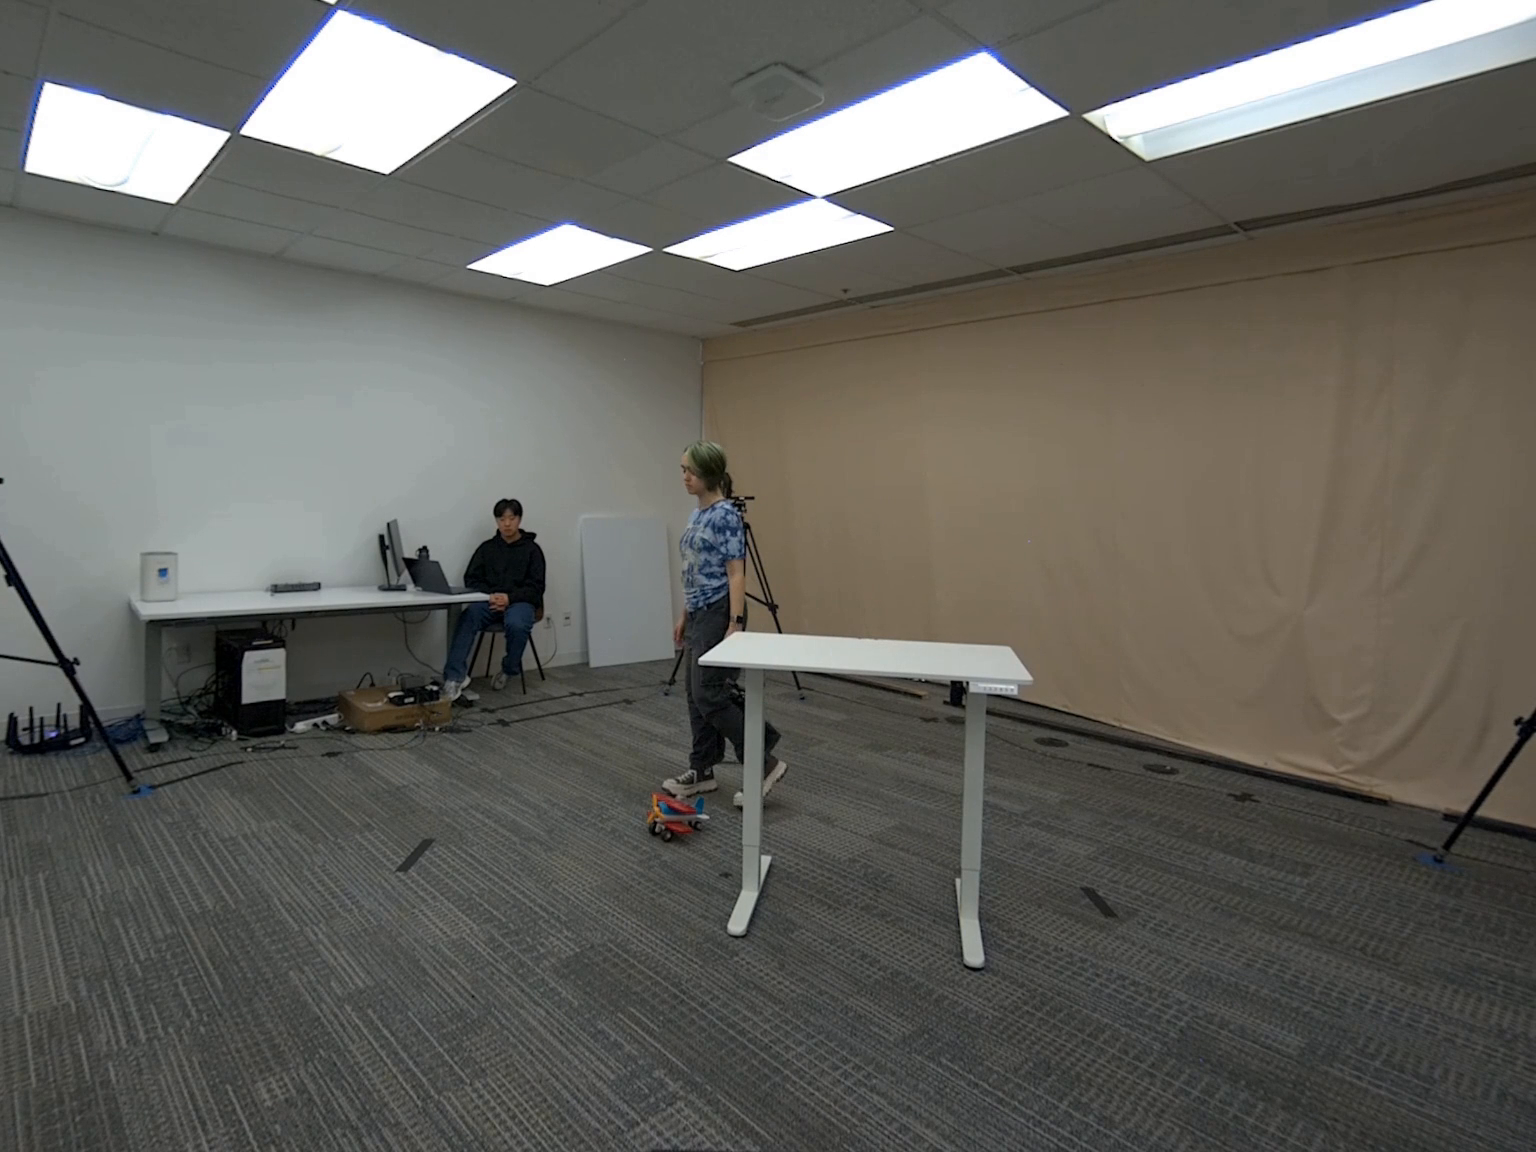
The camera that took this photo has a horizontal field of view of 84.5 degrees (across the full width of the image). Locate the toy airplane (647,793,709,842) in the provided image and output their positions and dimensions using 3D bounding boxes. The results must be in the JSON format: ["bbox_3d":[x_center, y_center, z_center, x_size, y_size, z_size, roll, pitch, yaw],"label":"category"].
[{"bbox_3d":[-0.398,0.991,3.493,0.255,0.156,0.256,3,7,20],"label":"toy airplane"}]
